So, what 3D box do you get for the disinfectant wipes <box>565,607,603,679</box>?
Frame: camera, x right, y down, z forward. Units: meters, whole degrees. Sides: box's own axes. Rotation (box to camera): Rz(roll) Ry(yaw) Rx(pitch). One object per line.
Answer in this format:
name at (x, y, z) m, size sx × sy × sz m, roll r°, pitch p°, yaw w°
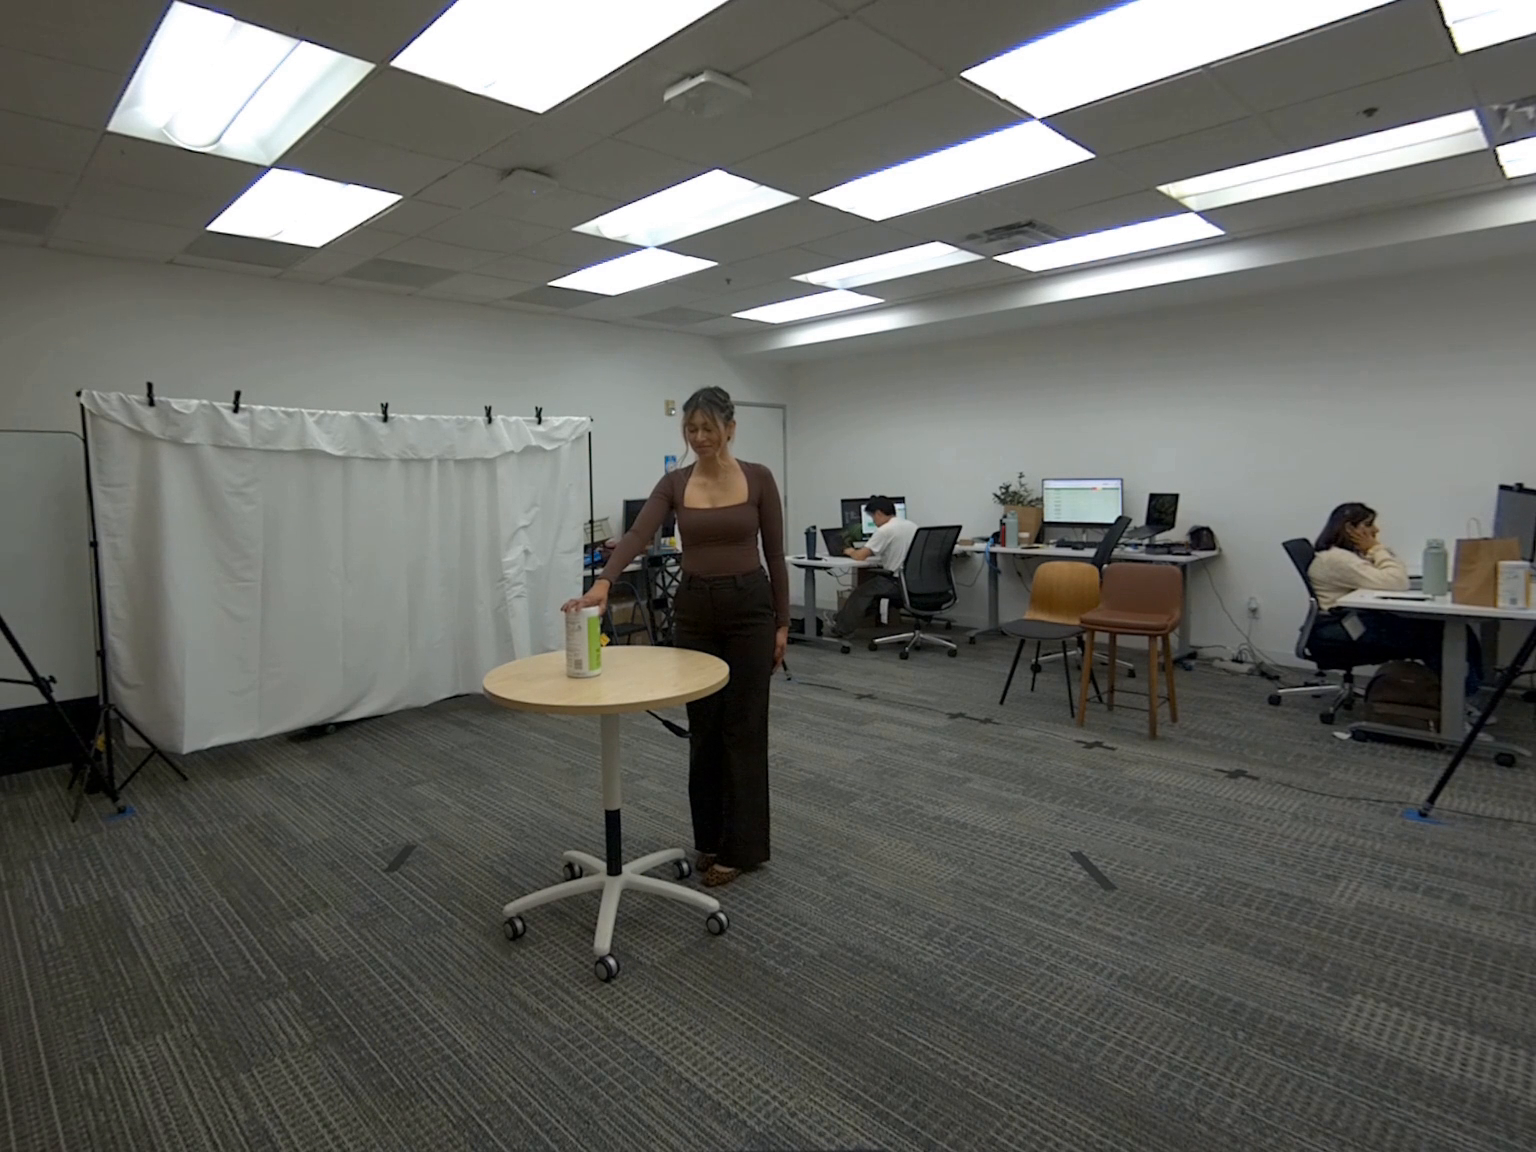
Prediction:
disinfectant wipes at (-0.572, 0.201, 2.656) m, size 0.118 × 0.217 × 0.118 m, roll 0°, pitch 3°, yaw -2°
